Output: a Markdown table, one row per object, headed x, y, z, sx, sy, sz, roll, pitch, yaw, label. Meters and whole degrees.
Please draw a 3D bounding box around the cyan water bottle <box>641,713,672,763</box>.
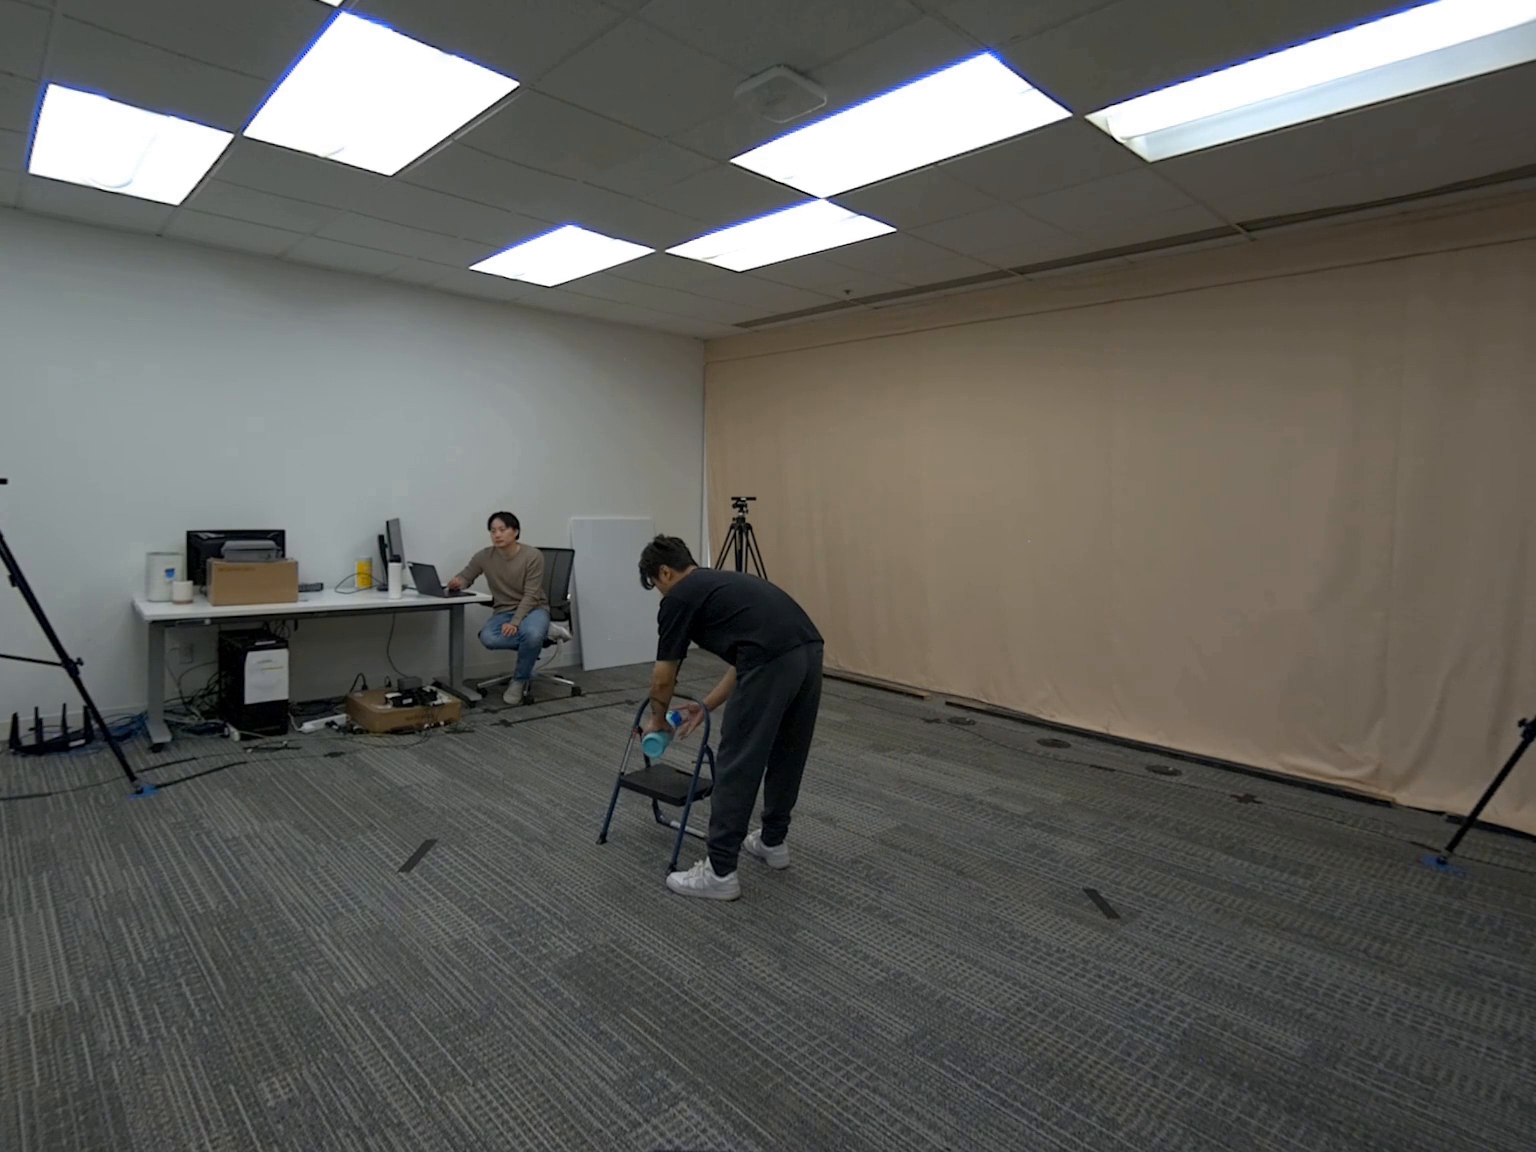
| x | y | z | sx | sy | sz | roll | pitch | yaw | label |
| --- | --- | --- | --- | --- | --- | --- | --- | --- | --- |
| -0.421 | 0.608 | 3.284 | 0.093 | 0.091 | 0.284 | 2 | 15 | 9 | cyan water bottle |
